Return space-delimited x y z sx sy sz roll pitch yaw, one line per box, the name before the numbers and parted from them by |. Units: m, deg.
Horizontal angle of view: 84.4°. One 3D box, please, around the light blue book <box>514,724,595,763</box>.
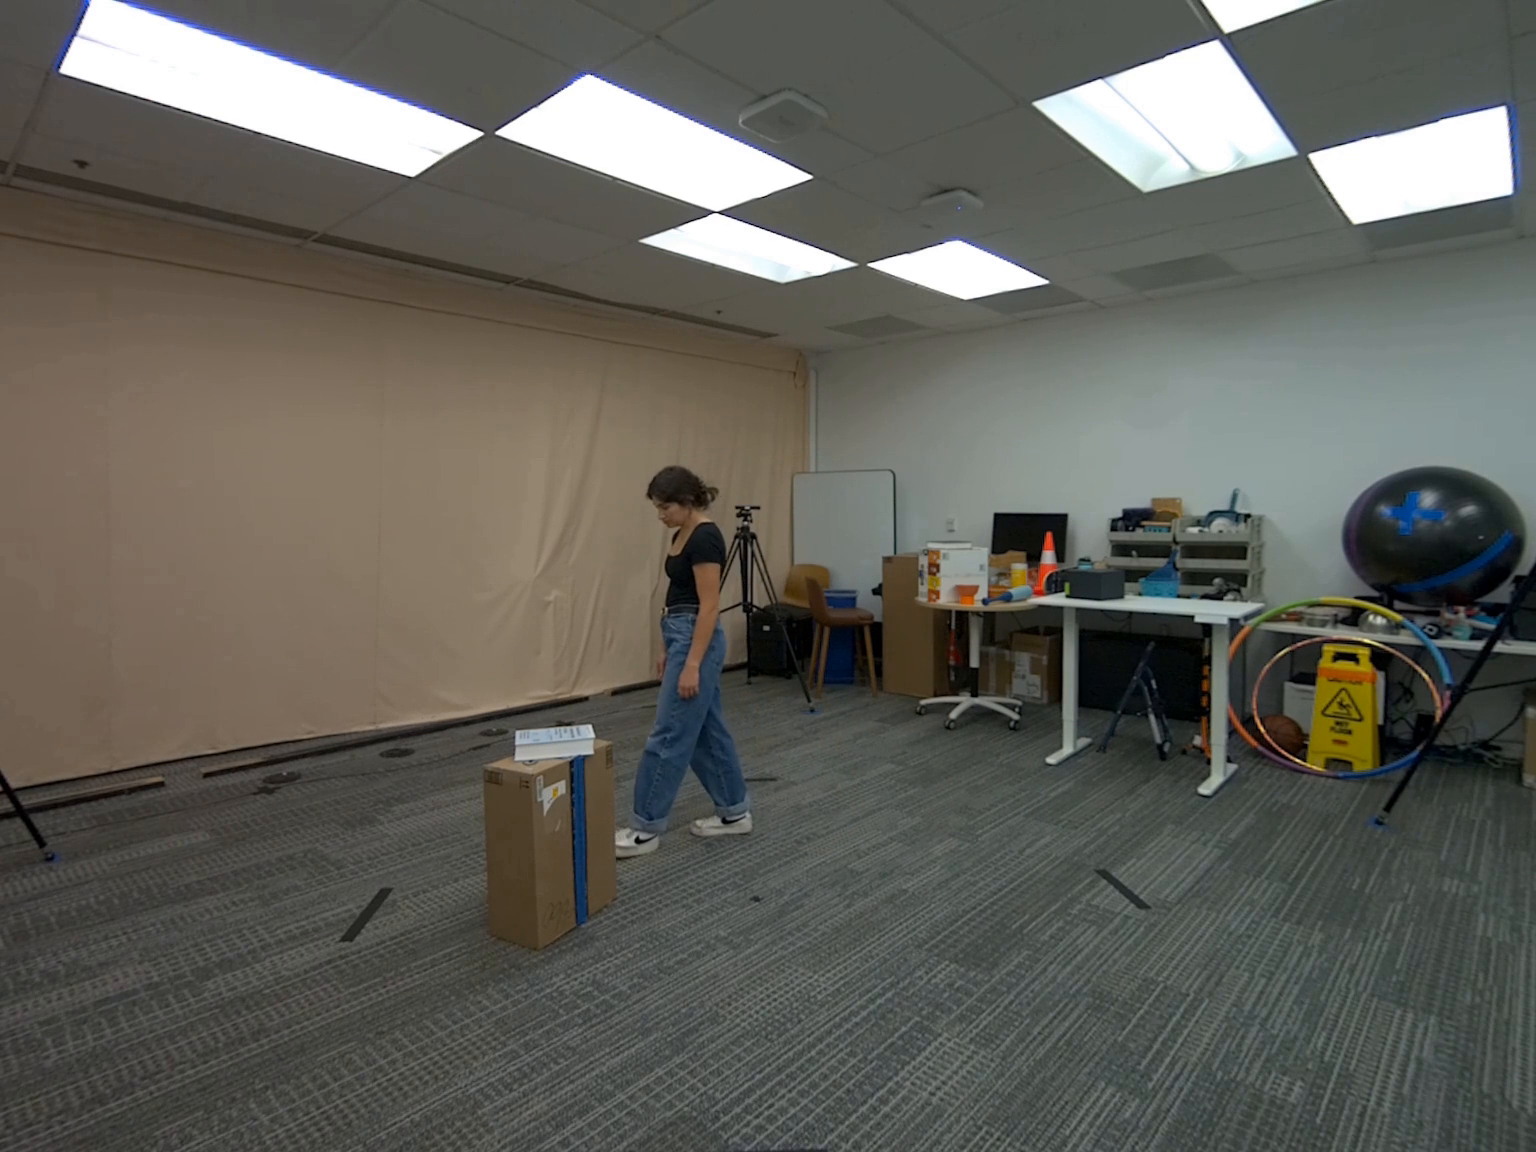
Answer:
light blue book | -0.738 0.569 2.873 0.257 0.059 0.194 -2 4 -13
